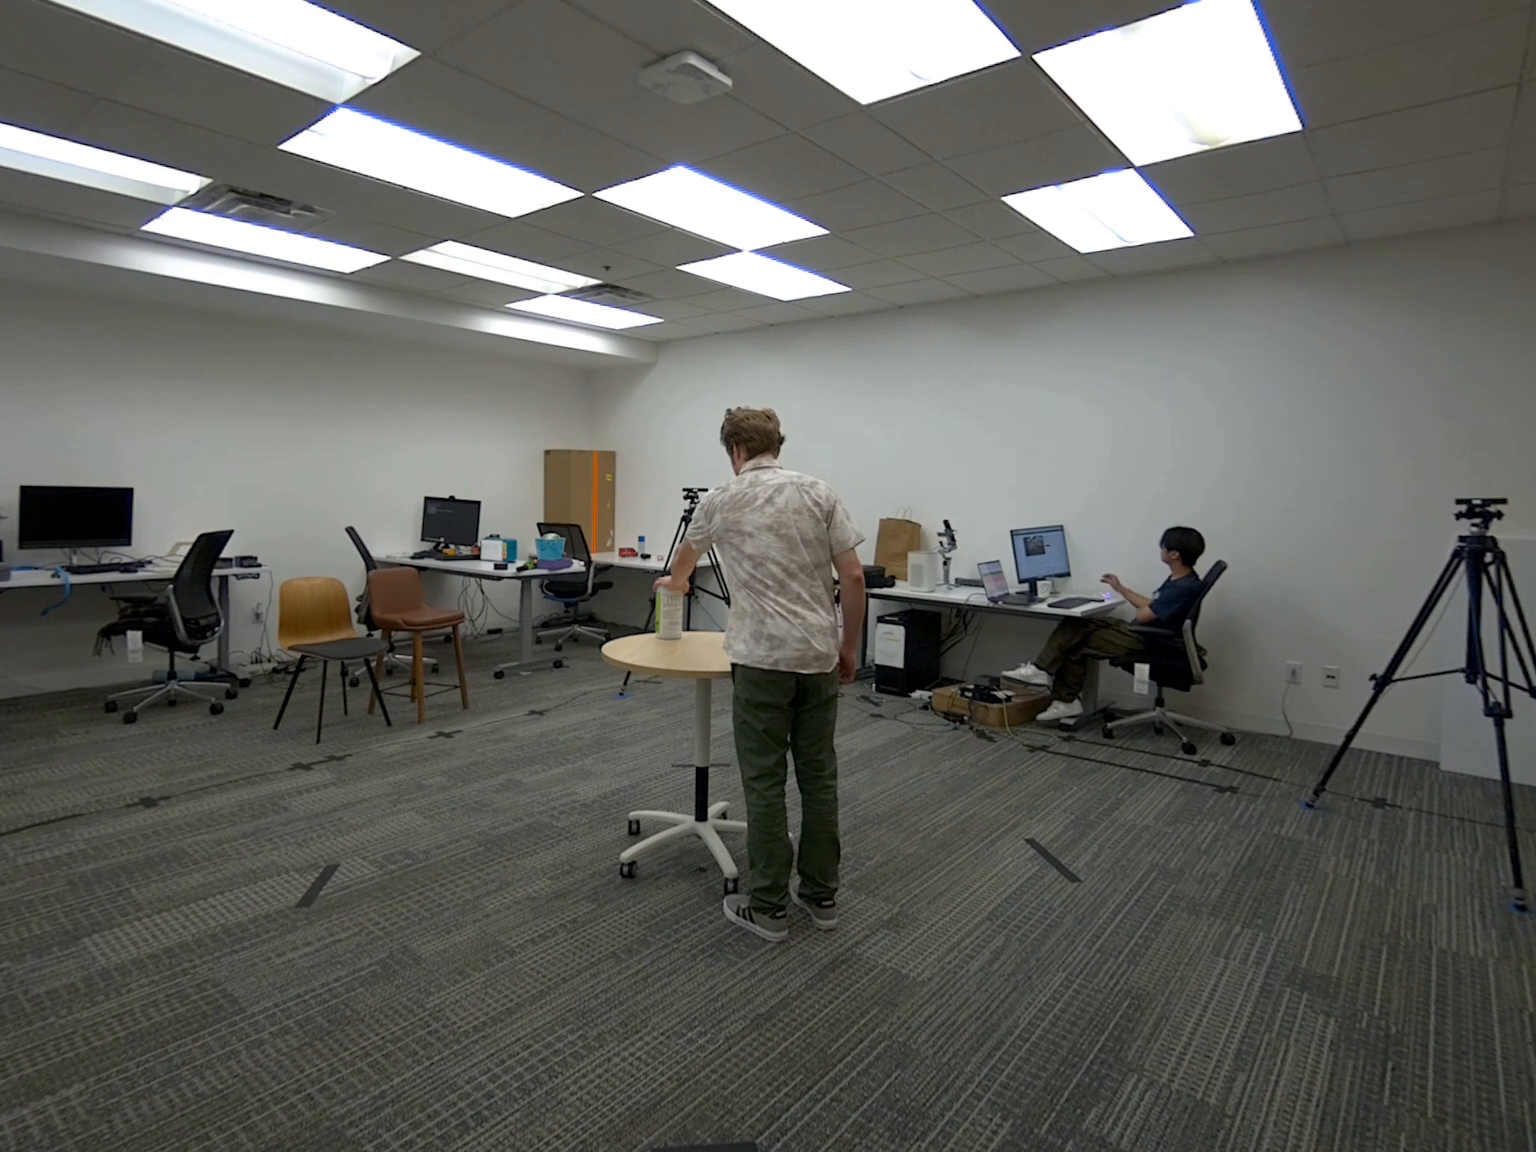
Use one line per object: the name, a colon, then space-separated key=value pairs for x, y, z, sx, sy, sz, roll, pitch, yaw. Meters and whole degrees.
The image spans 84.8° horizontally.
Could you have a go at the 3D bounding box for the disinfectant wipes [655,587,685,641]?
disinfectant wipes: x=-0.403 y=0.138 z=3.407 sx=0.118 sy=0.216 sz=0.118 roll=-2 pitch=6 yaw=-2
